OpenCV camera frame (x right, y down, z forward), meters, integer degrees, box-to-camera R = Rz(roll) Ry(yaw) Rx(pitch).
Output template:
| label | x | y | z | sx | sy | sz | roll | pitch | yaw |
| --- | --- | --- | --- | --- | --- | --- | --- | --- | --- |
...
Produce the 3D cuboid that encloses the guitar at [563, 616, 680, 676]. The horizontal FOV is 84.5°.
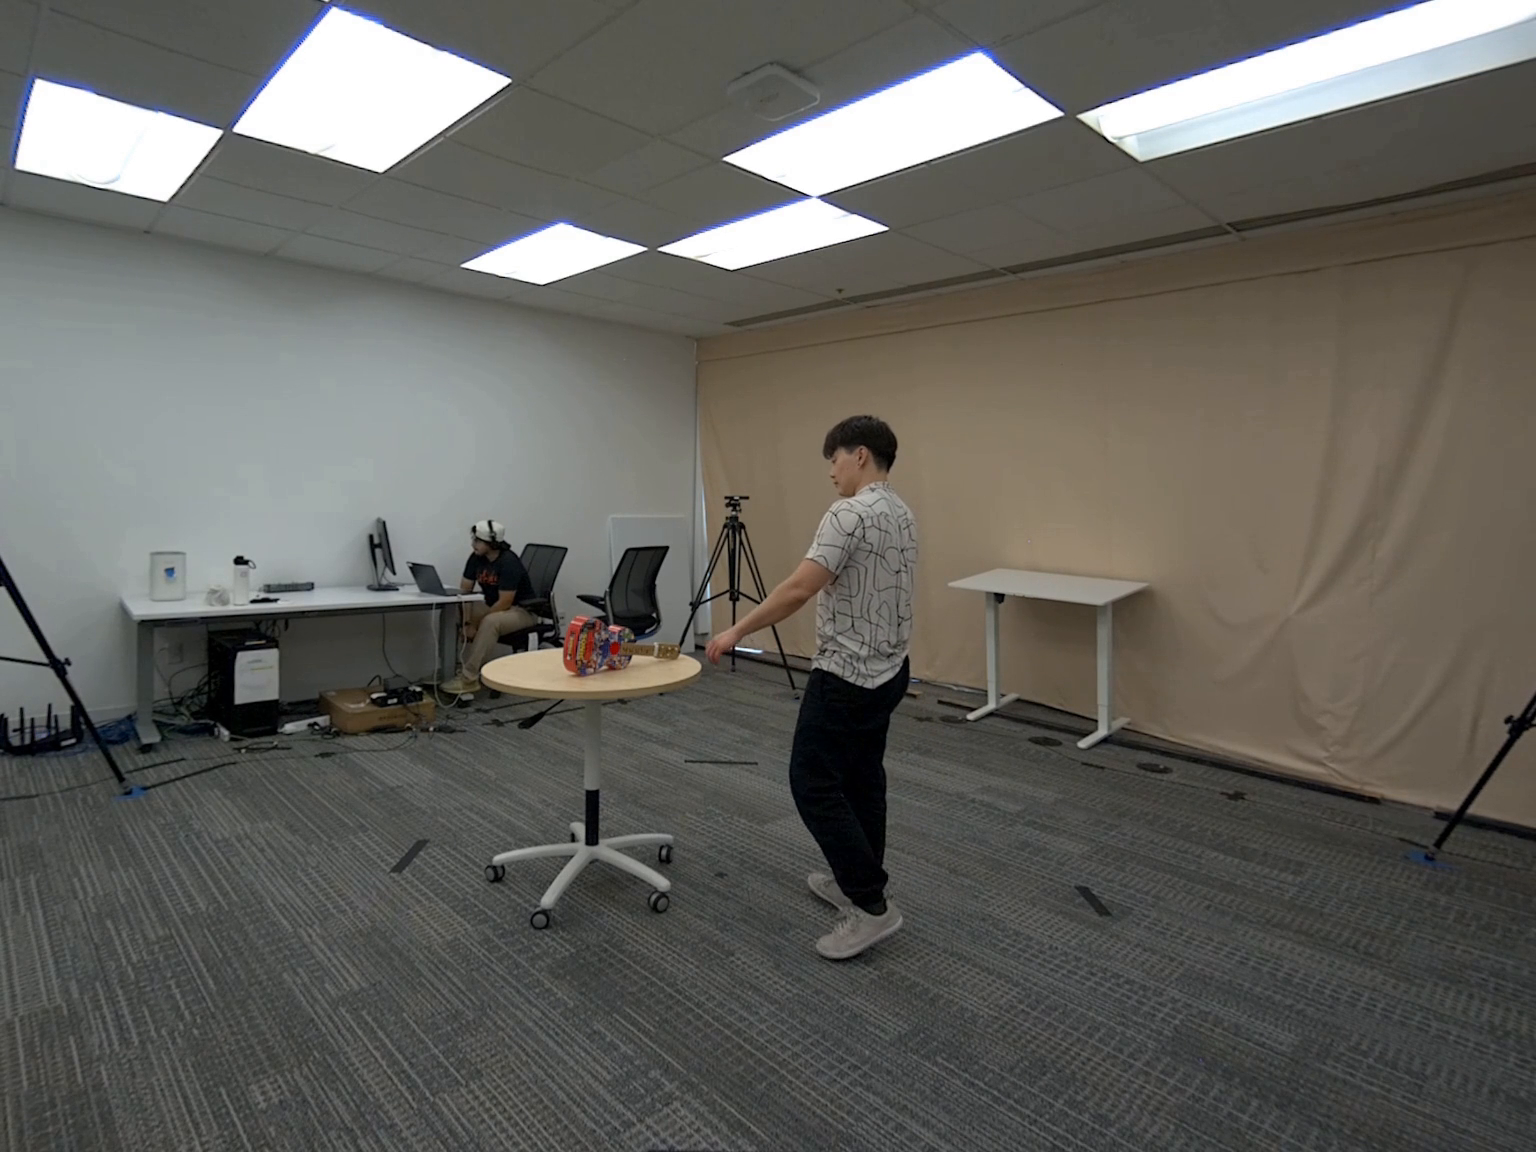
| label | x | y | z | sx | sy | sz | roll | pitch | yaw |
| --- | --- | --- | --- | --- | --- | --- | --- | --- | --- |
| guitar | -0.507 | 0.281 | 2.963 | 0.072 | 0.194 | 0.483 | 4 | -13 | 40 |
